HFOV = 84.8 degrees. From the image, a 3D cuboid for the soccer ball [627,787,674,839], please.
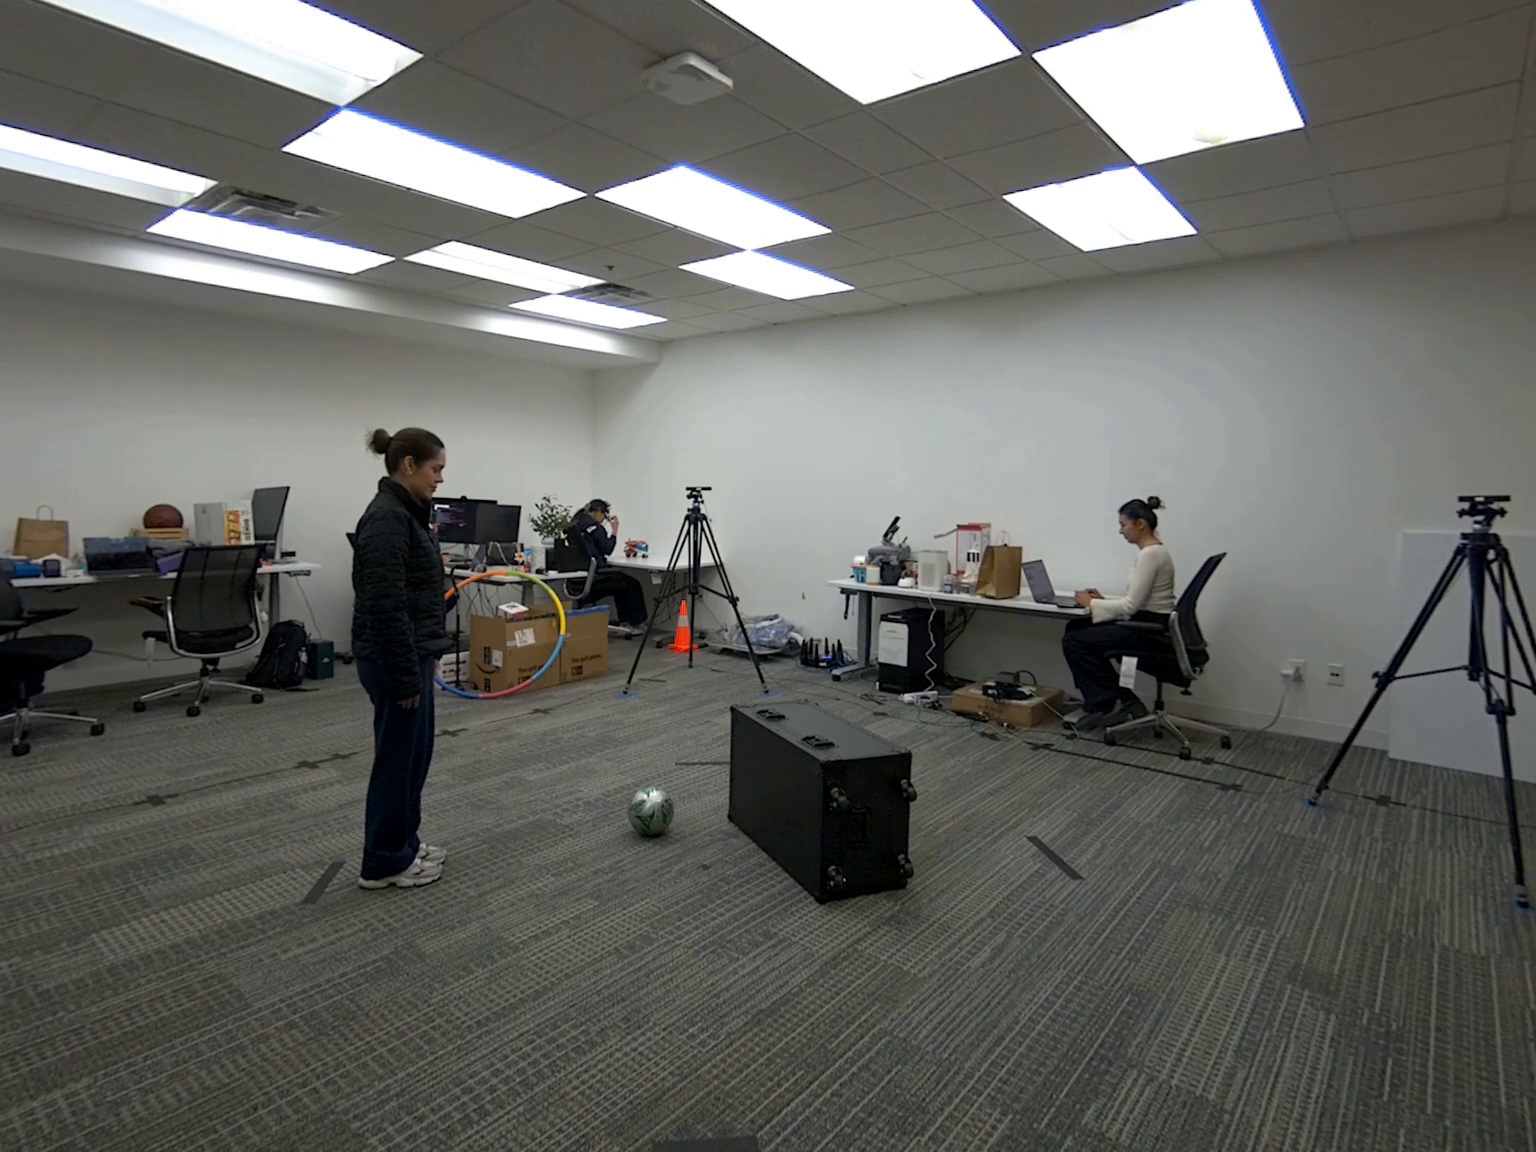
[{"bbox_3d":[-0.480,0.938,3.415,0.187,0.187,0.188,1,4,-2],"label":"soccer ball"}]
